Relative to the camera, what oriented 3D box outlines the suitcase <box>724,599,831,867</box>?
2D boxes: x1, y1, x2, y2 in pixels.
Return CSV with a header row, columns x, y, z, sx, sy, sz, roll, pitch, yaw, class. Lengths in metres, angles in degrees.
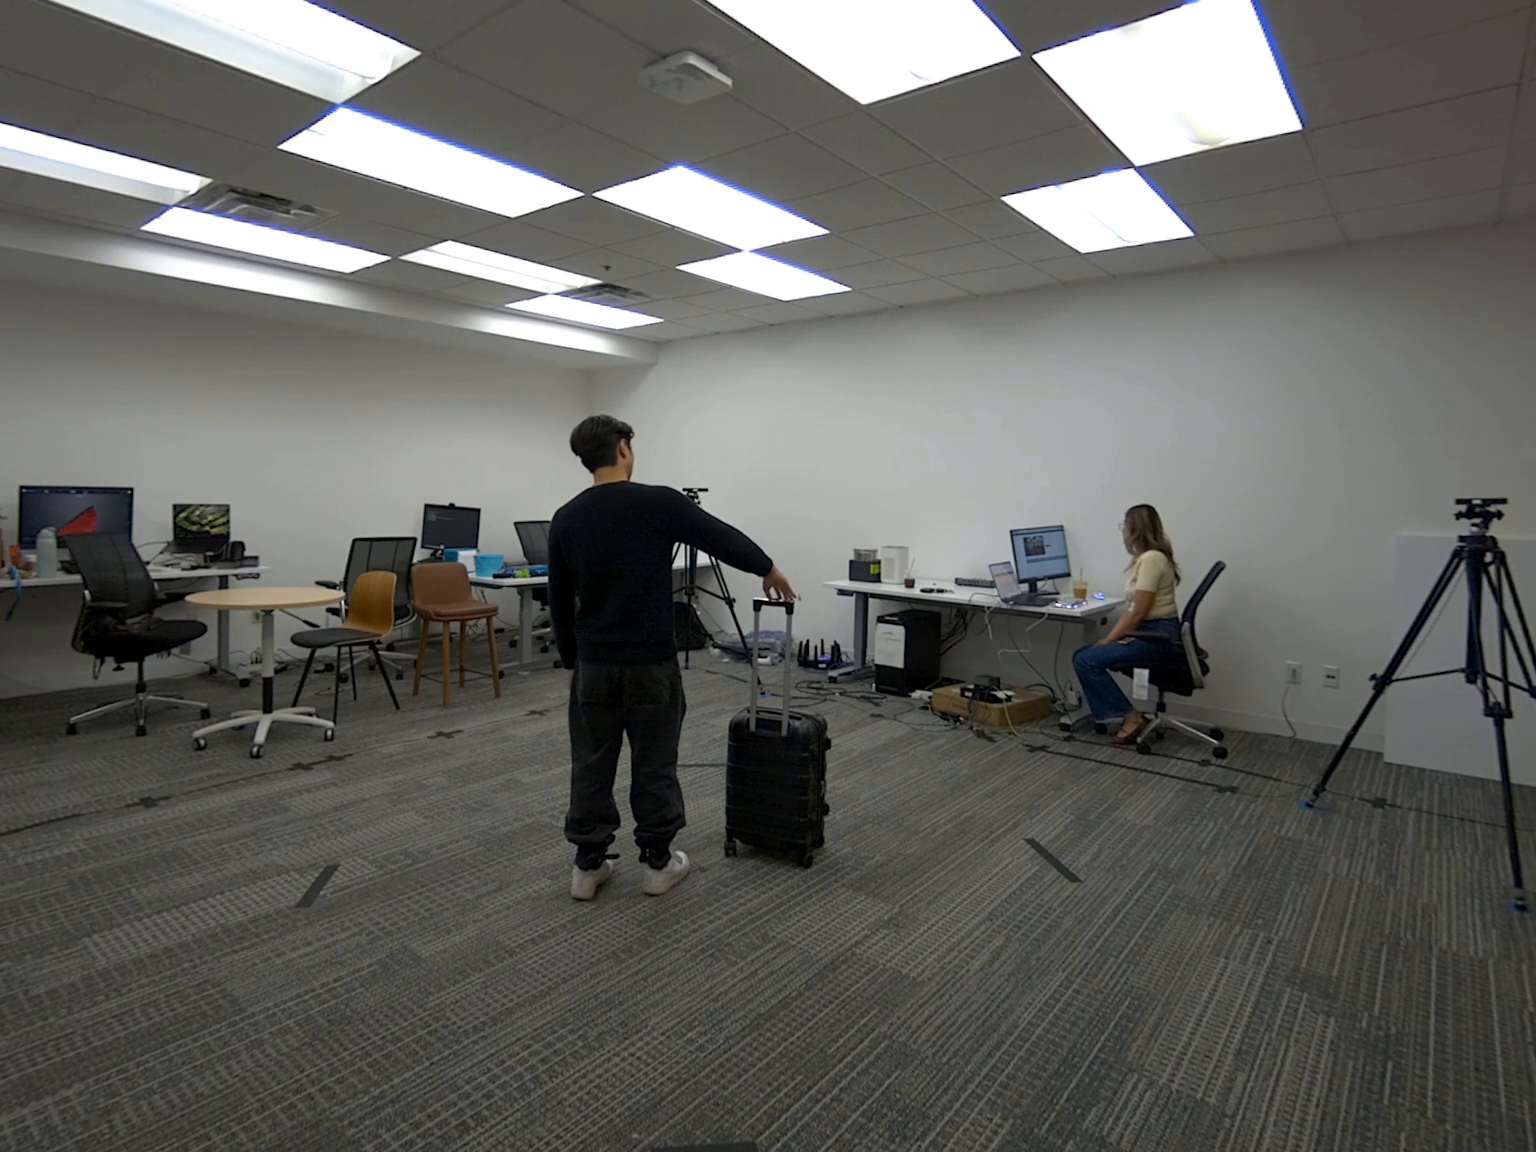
x,y,z,sx,sy,sz,roll,pitch,yaw,class
0.032,0.580,3.288,0.393,0.978,0.251,3,0,22,suitcase
